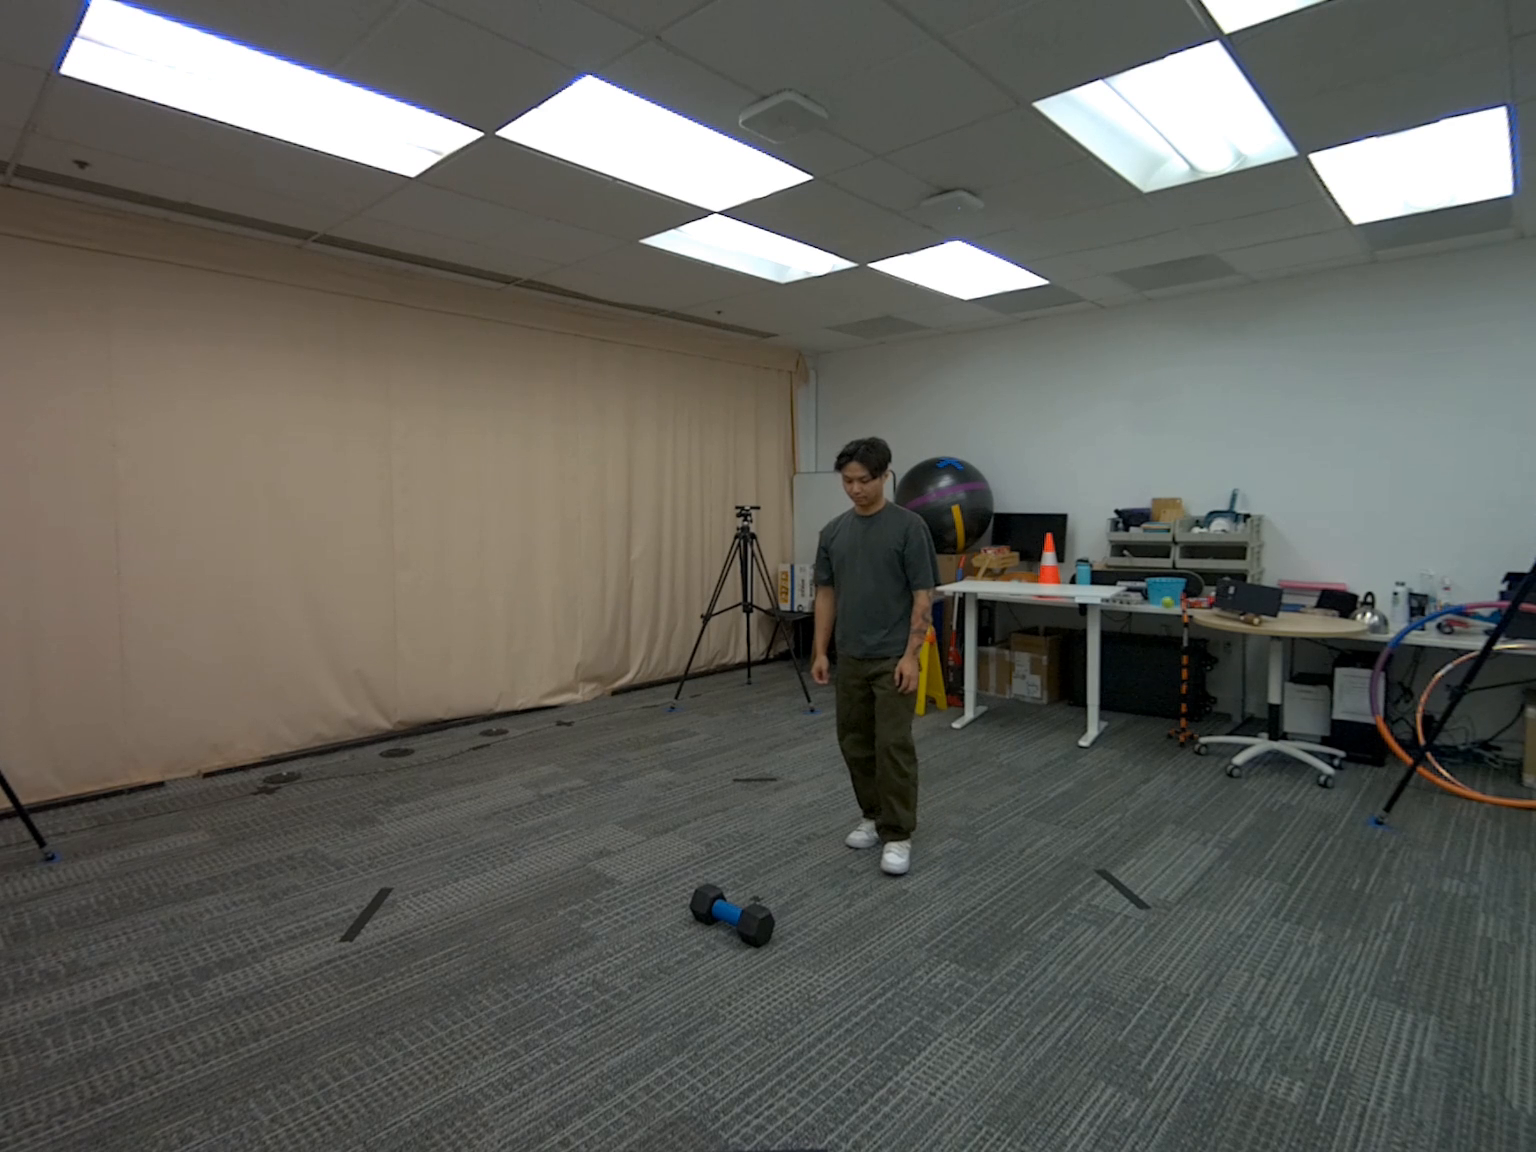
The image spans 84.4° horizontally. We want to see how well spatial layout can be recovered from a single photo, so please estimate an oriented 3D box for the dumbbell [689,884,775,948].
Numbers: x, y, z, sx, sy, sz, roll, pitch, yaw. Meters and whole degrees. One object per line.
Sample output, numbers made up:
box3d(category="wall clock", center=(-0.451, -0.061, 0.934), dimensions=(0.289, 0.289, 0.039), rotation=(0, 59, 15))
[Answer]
box3d(category="dumbbell", center=(-0.117, 1.109, 2.756), dimensions=(0.303, 0.120, 0.107), rotation=(4, 36, 42))
